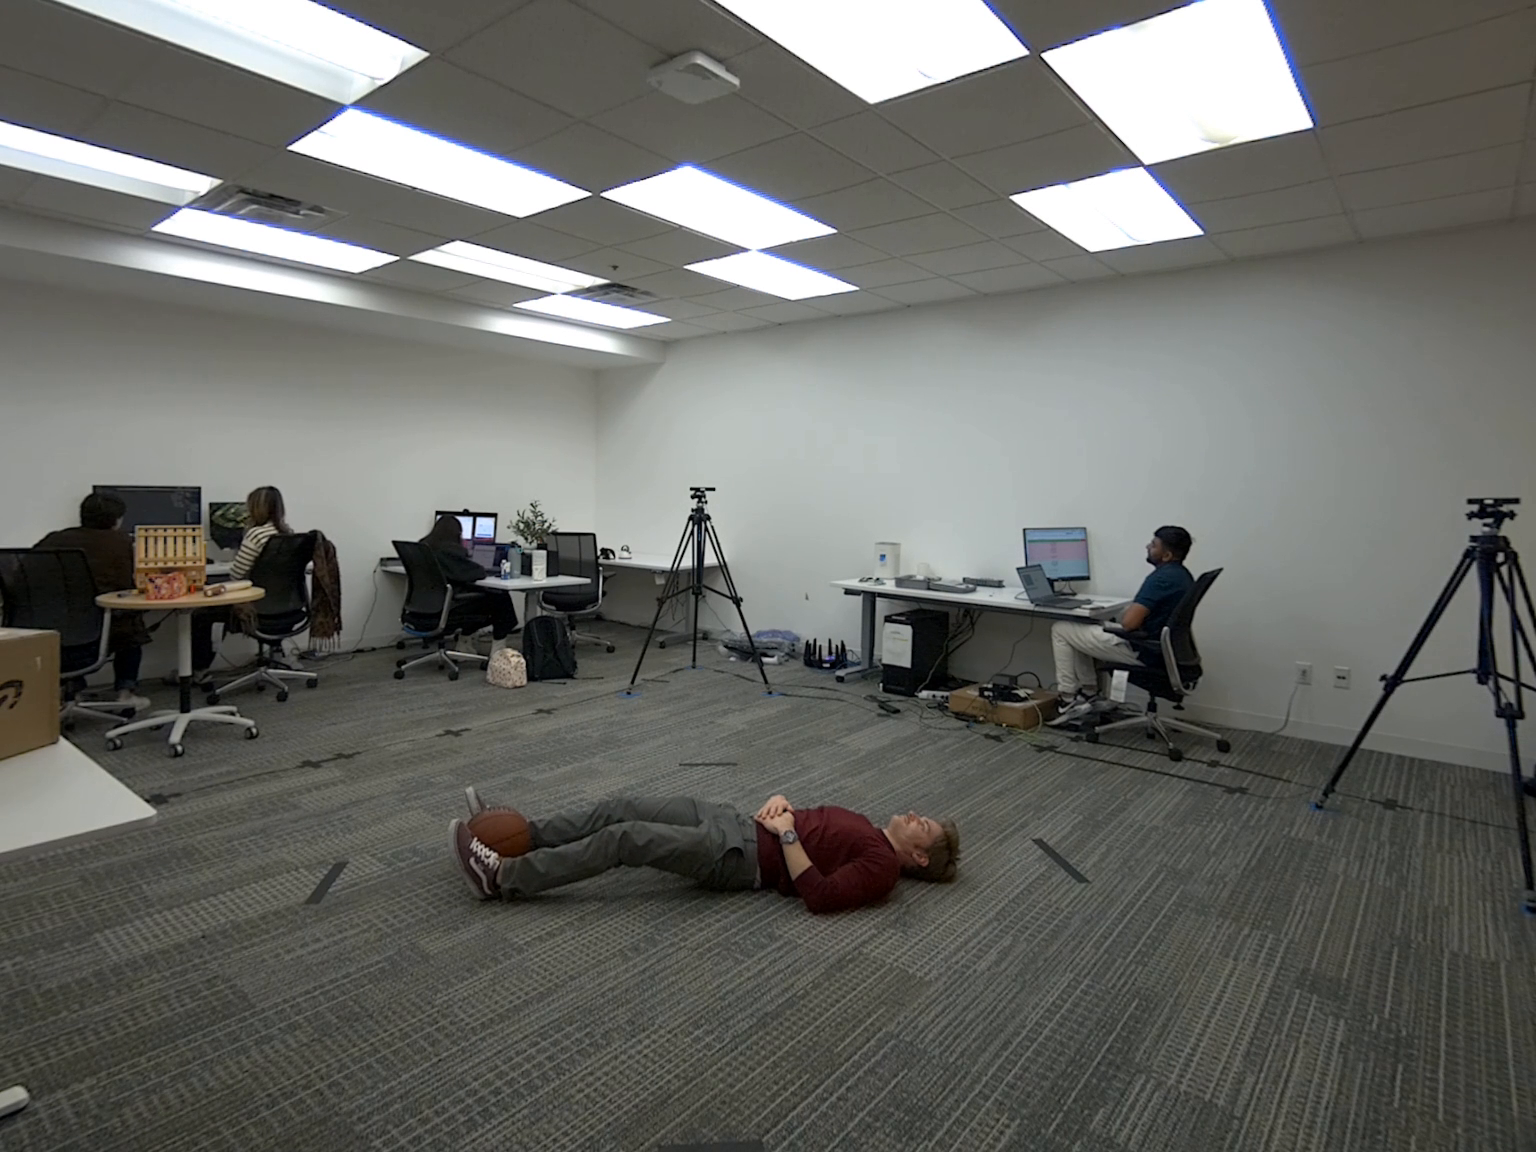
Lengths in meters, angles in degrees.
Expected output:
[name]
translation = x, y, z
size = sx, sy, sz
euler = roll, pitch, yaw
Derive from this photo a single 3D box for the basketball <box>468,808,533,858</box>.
[basketball]
translation = -0.965, 0.919, 2.988
size = 0.236, 0.235, 0.237
euler = -3, 3, -2
